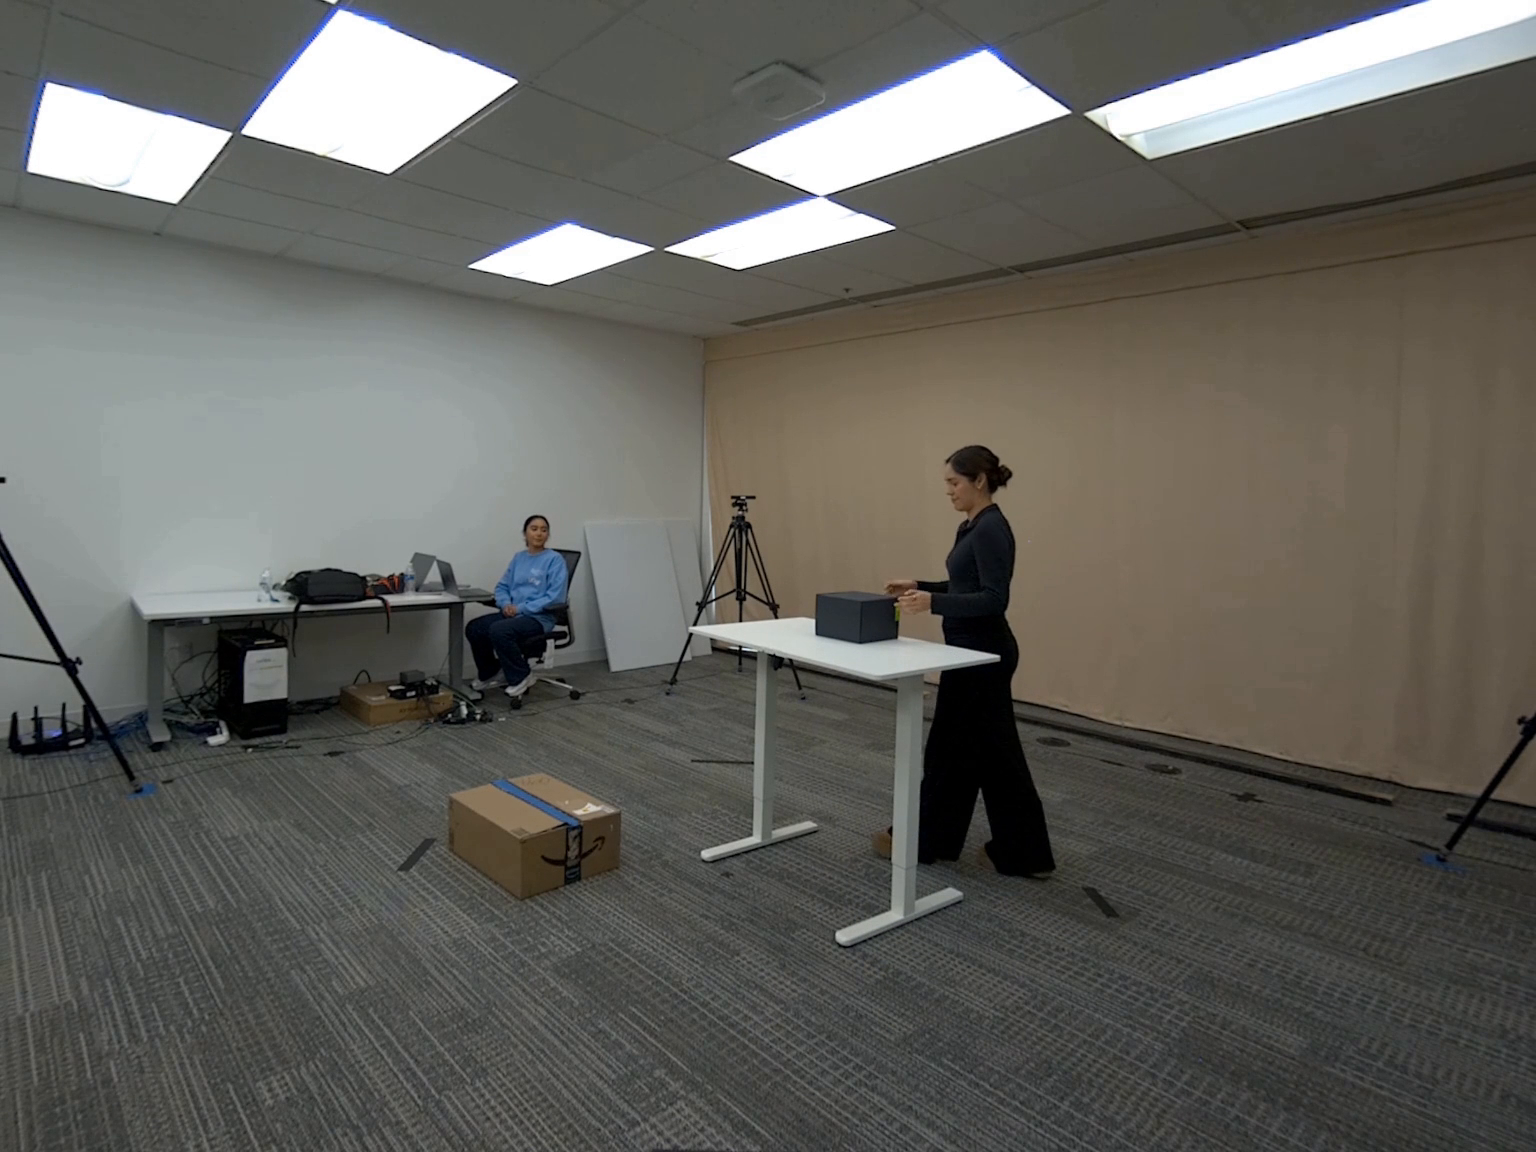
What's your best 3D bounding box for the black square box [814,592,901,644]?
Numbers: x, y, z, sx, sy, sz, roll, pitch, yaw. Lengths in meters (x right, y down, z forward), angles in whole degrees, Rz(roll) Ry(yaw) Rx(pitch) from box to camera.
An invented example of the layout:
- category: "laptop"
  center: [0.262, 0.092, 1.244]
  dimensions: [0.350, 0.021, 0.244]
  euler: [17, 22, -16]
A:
- category: "black square box"
  center: [0.326, 0.150, 3.135]
  dimensions: [0.212, 0.155, 0.234]
  euler: [-3, 6, -41]
